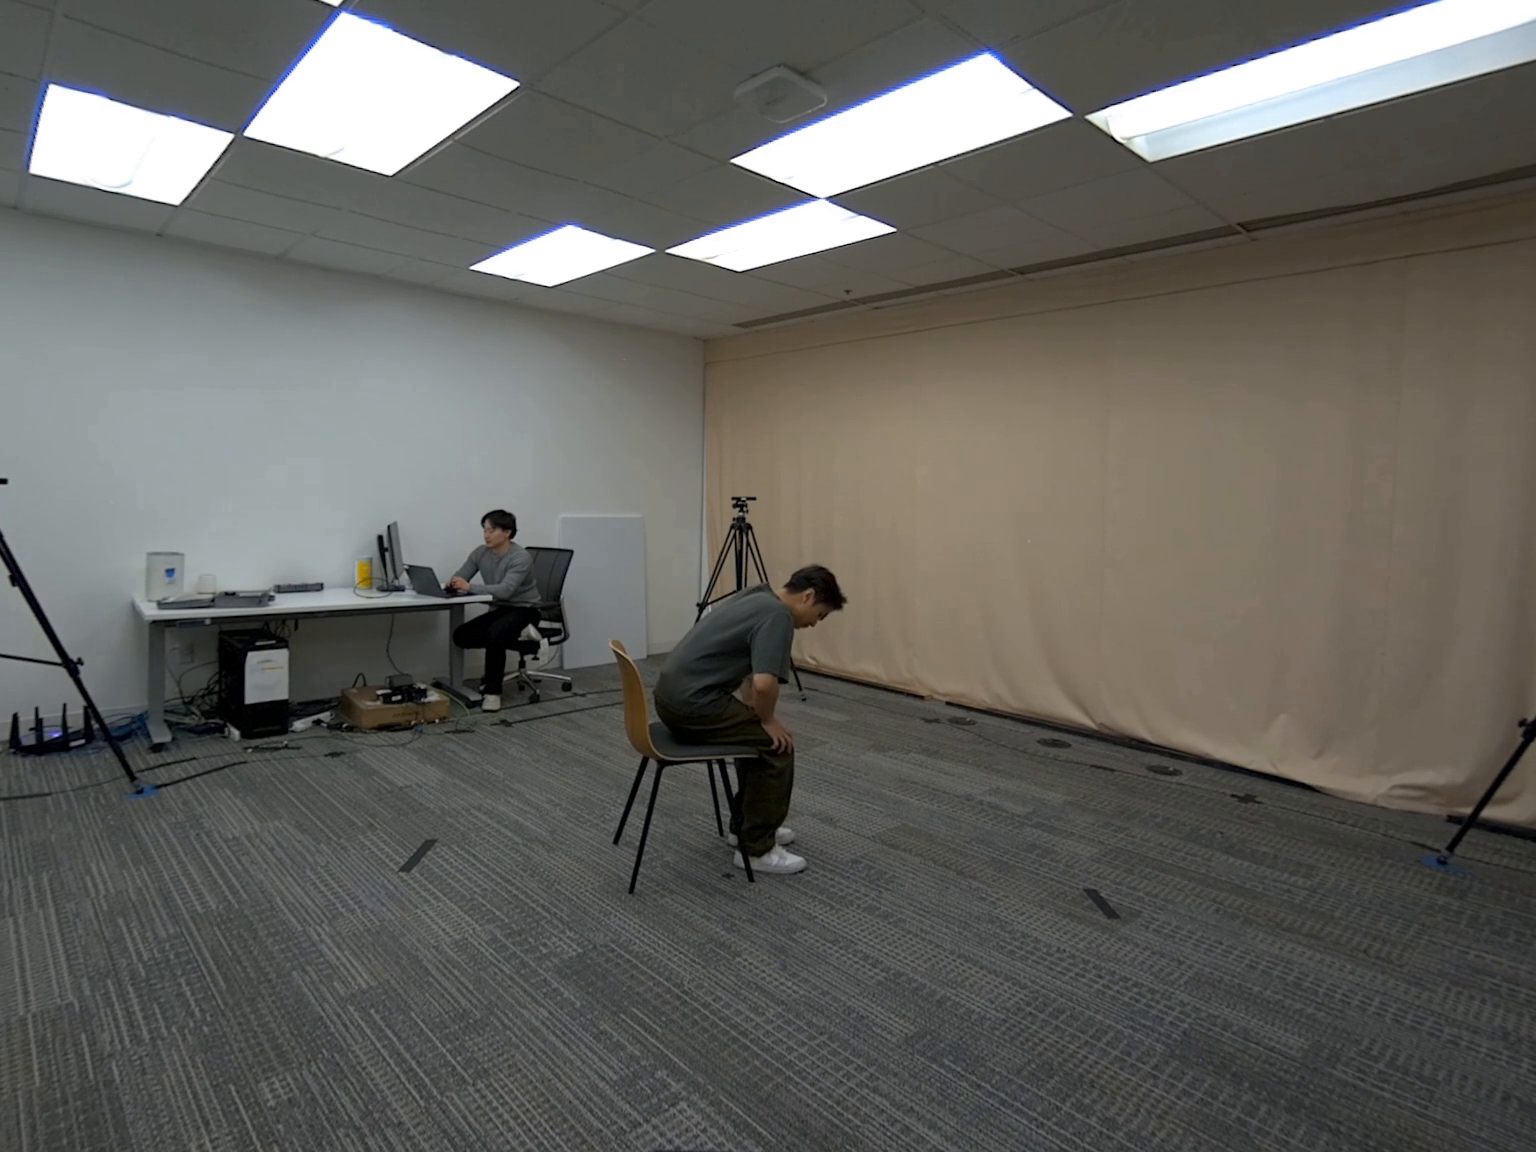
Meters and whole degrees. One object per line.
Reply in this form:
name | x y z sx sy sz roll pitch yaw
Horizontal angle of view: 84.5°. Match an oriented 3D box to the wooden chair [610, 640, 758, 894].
wooden chair | -0.324 0.669 3.182 0.517 0.875 0.485 -3 4 -16
